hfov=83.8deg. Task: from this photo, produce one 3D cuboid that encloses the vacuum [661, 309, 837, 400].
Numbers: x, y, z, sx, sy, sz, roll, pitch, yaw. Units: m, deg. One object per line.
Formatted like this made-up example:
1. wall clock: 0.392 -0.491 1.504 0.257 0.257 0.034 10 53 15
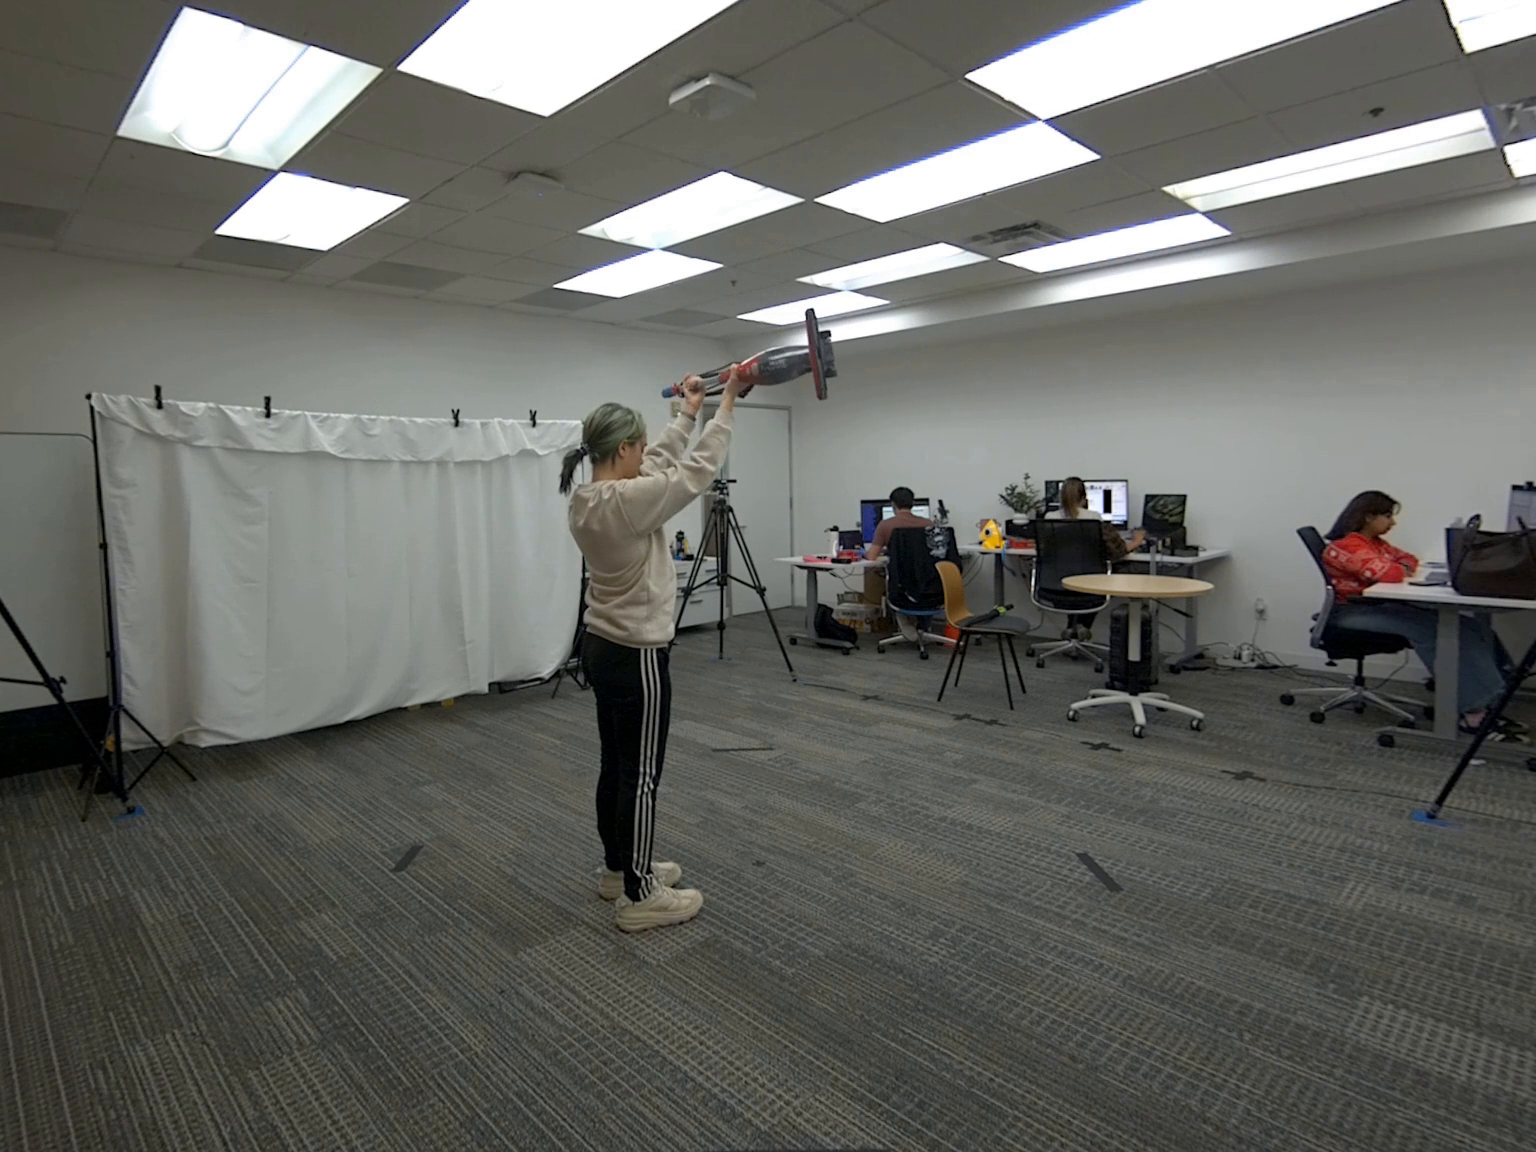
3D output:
1. vacuum: -0.114 -0.662 2.848 0.142 0.250 1.078 -16 12 -27
